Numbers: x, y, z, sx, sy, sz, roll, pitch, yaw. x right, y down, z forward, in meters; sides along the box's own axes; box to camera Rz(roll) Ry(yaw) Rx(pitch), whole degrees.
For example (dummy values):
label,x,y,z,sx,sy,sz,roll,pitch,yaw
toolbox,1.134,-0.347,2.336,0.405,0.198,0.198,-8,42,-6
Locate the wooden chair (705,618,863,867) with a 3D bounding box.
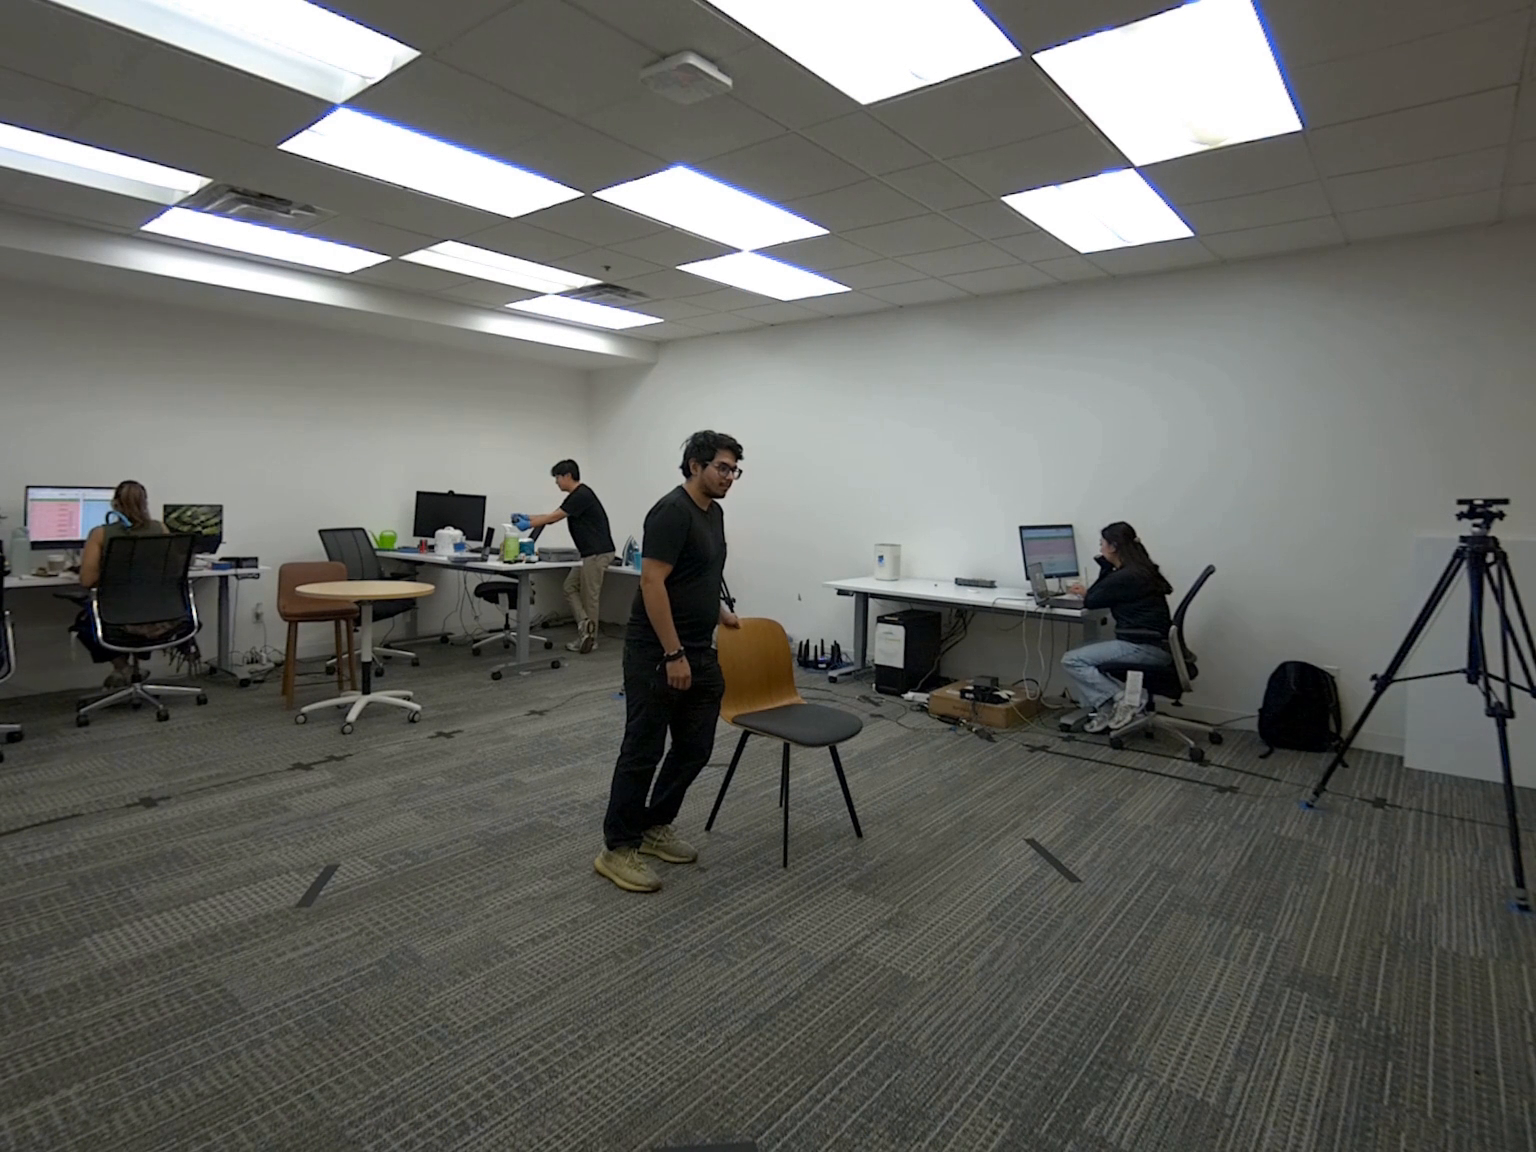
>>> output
label,x,y,z,sx,sy,sz,roll,pitch,yaw
wooden chair,0.073,0.619,3.417,0.463,0.877,0.539,-2,1,-44
